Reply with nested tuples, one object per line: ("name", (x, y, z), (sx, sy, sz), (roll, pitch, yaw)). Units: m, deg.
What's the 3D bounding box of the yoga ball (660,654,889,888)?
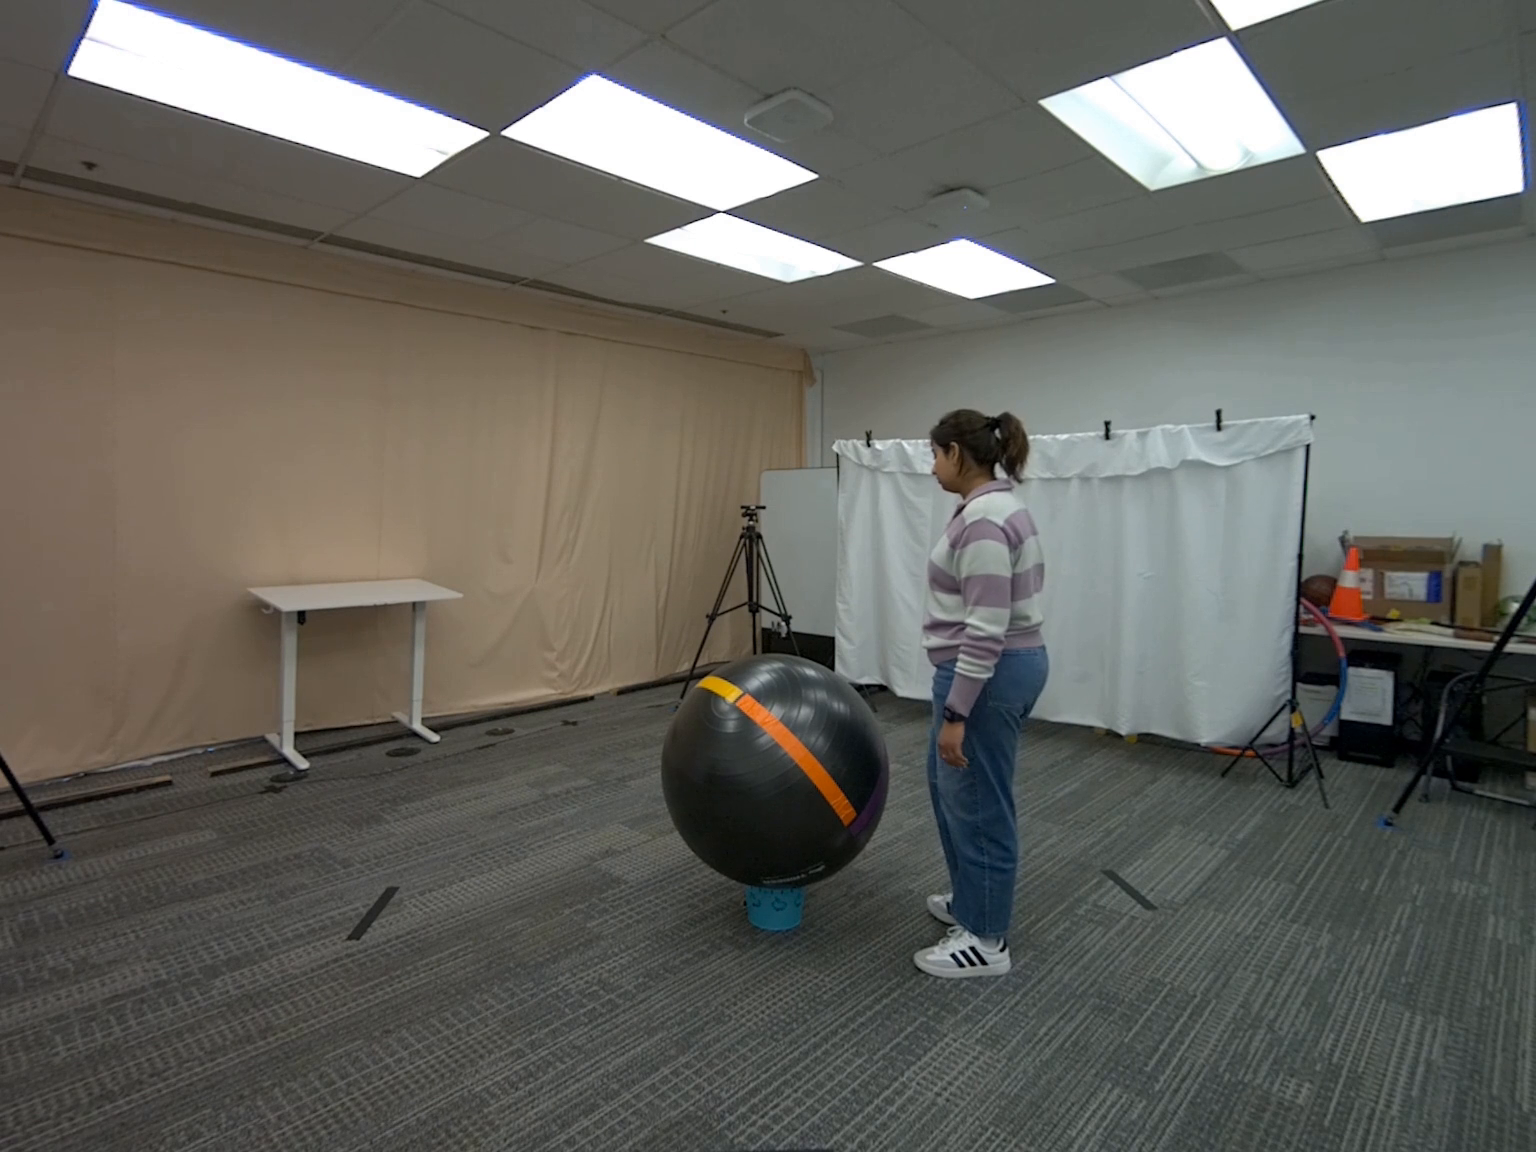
("yoga ball", (0.026, 0.647, 2.830), (0.757, 0.756, 0.760), (0, 4, -2))
